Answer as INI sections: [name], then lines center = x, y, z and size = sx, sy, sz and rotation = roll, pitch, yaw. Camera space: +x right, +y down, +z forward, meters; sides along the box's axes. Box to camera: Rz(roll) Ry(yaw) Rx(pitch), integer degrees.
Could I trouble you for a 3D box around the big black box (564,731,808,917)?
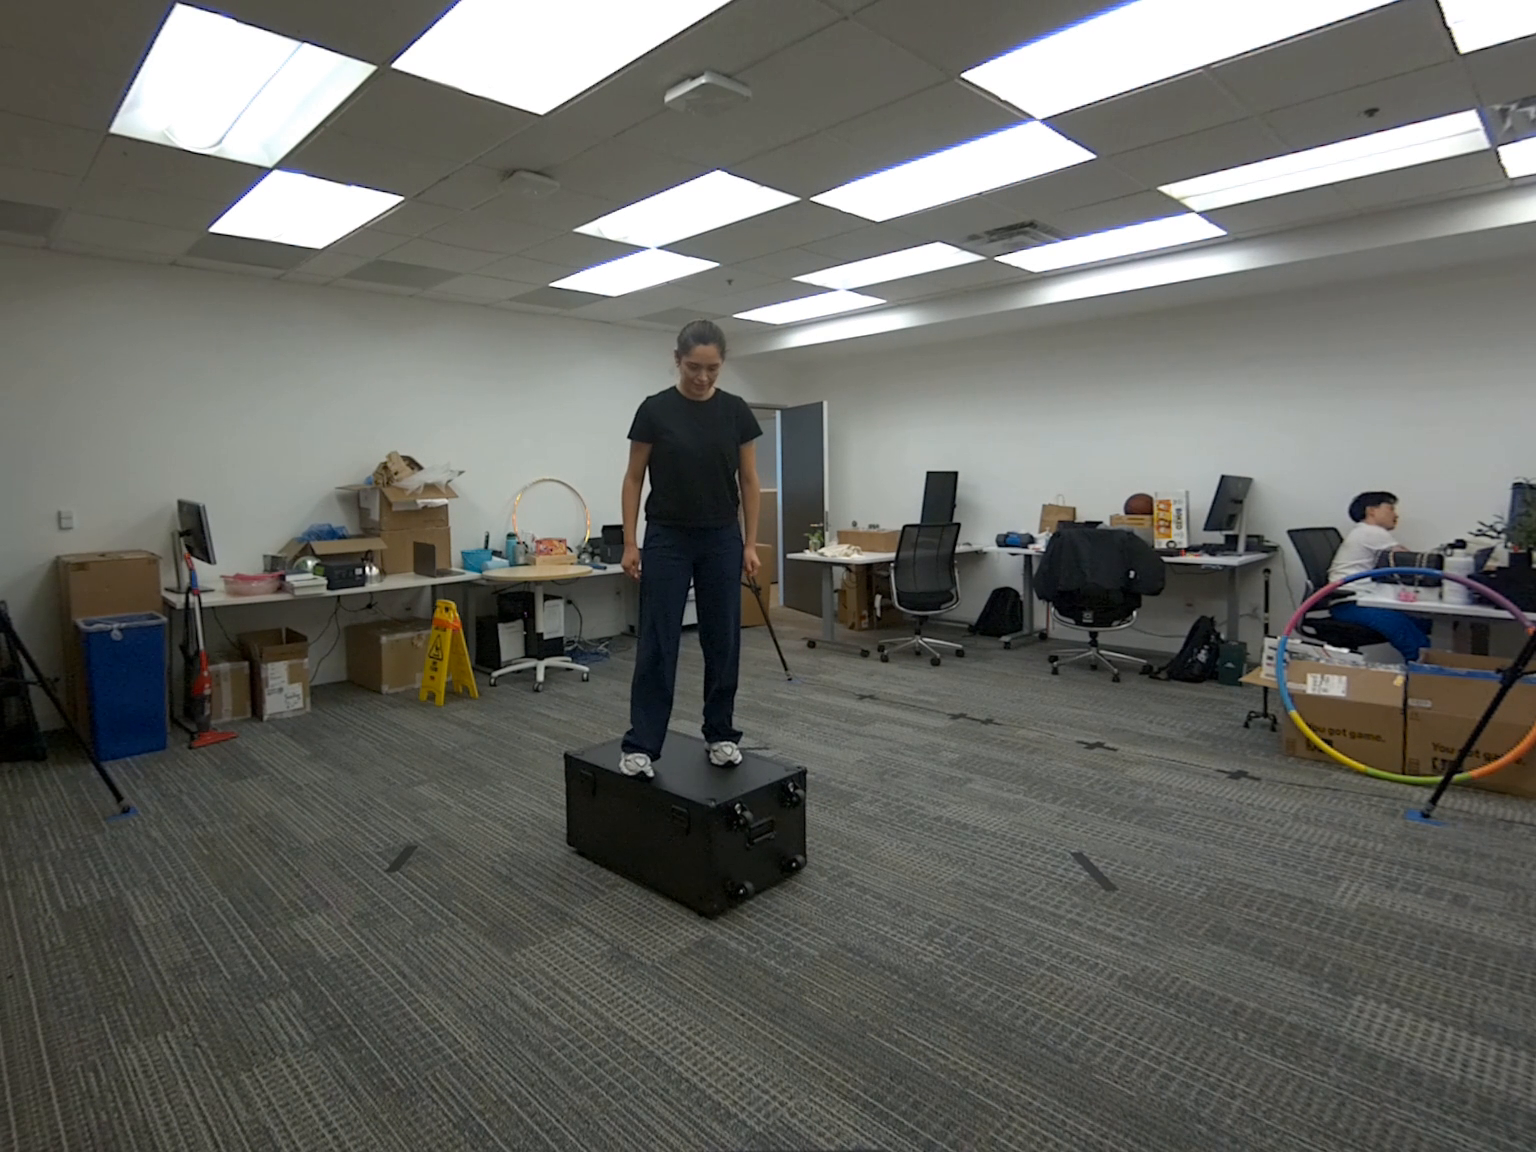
[big black box]
center = -0.291, 0.859, 3.109
size = 0.888, 0.395, 0.508
rotation = 4, 7, 42
